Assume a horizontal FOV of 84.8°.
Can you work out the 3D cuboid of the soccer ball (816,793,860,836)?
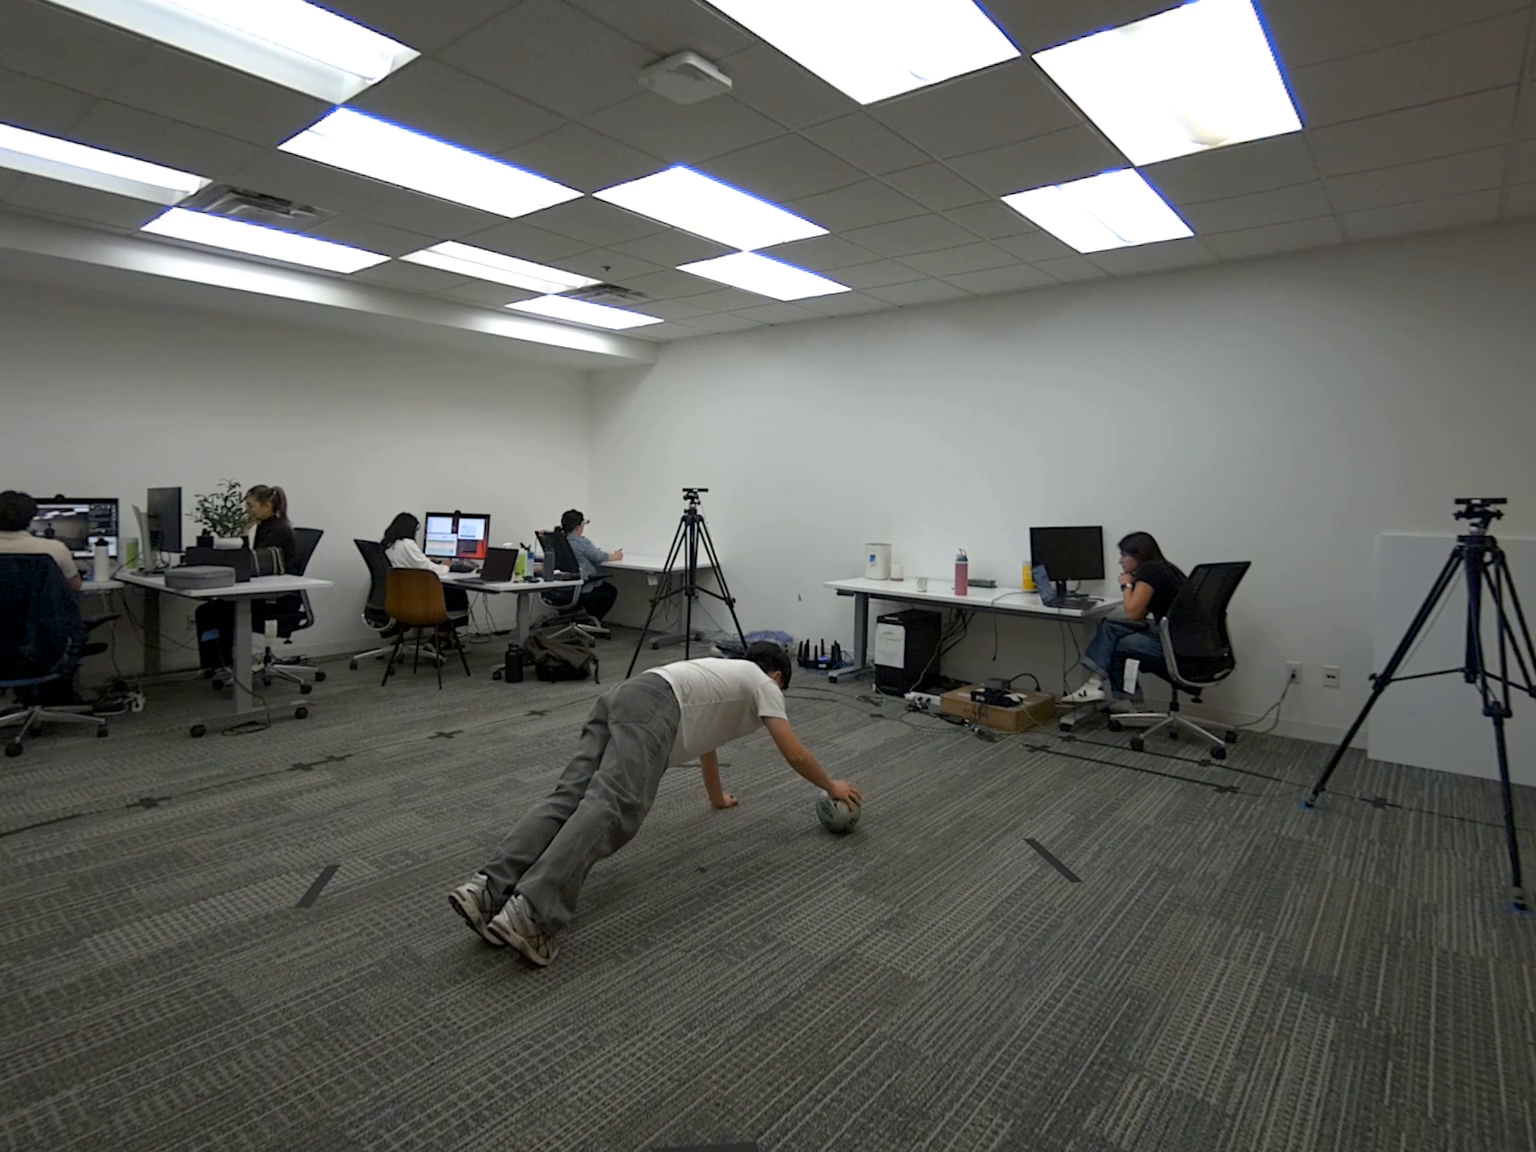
[{"bbox_3d":[0.283,0.945,3.507,0.187,0.187,0.188,1,4,-2],"label":"soccer ball"}]
